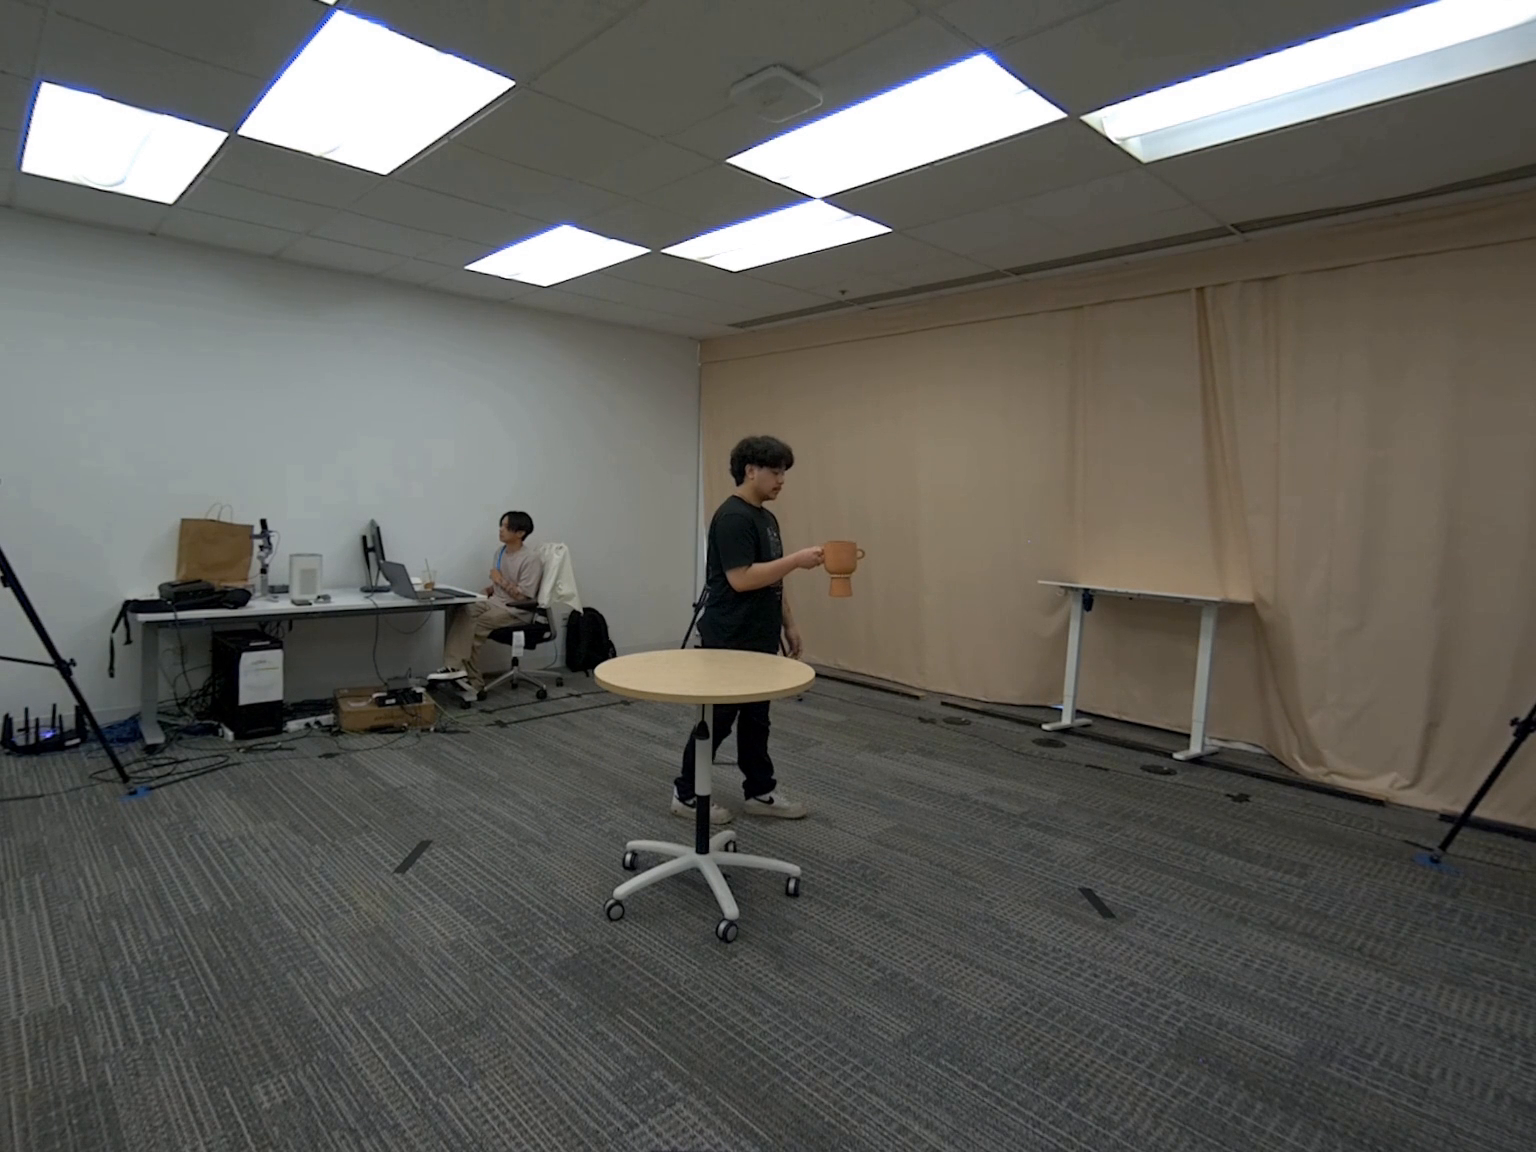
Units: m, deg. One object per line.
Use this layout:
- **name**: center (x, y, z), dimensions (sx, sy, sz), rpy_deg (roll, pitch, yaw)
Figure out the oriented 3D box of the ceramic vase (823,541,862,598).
- **ceramic vase**: center (0.284, -0.033, 3.415), dimensions (0.163, 0.219, 0.131), rpy_deg (4, 5, 44)
